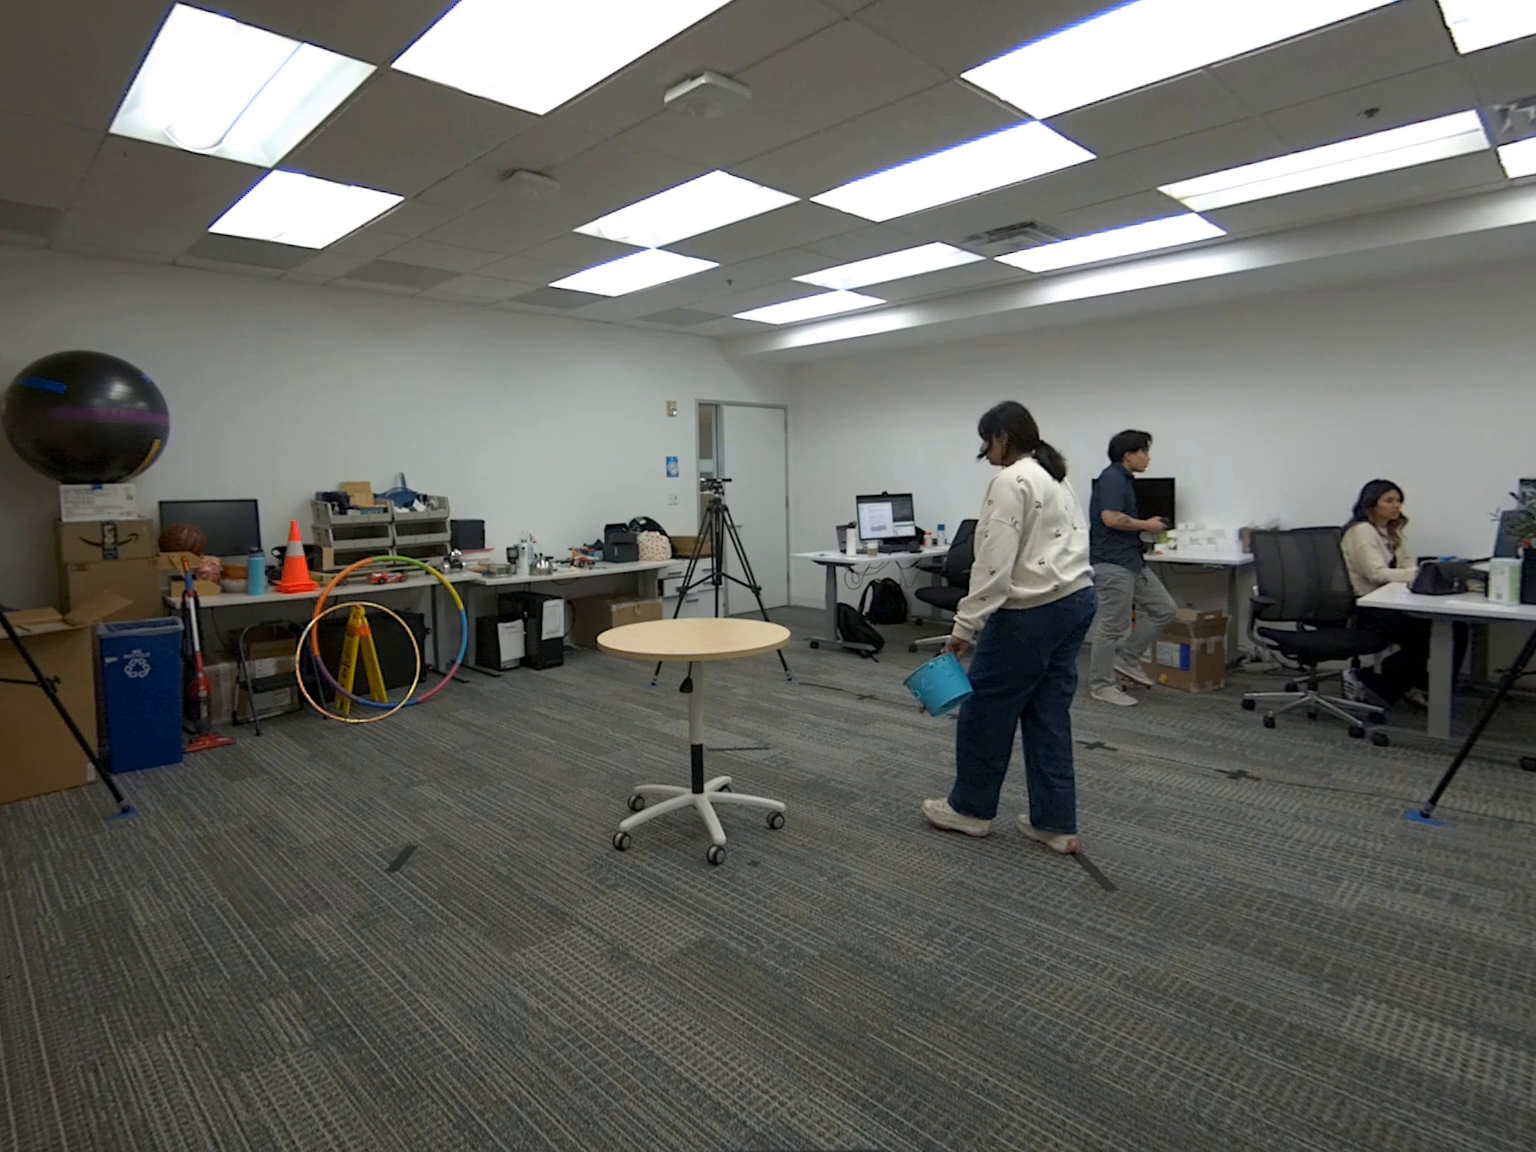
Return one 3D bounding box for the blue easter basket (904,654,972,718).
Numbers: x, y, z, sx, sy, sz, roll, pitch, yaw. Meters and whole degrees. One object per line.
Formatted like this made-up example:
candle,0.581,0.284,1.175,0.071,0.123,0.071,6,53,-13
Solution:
blue easter basket,0.630,0.415,3.153,0.242,0.160,0.238,-23,-25,-13
